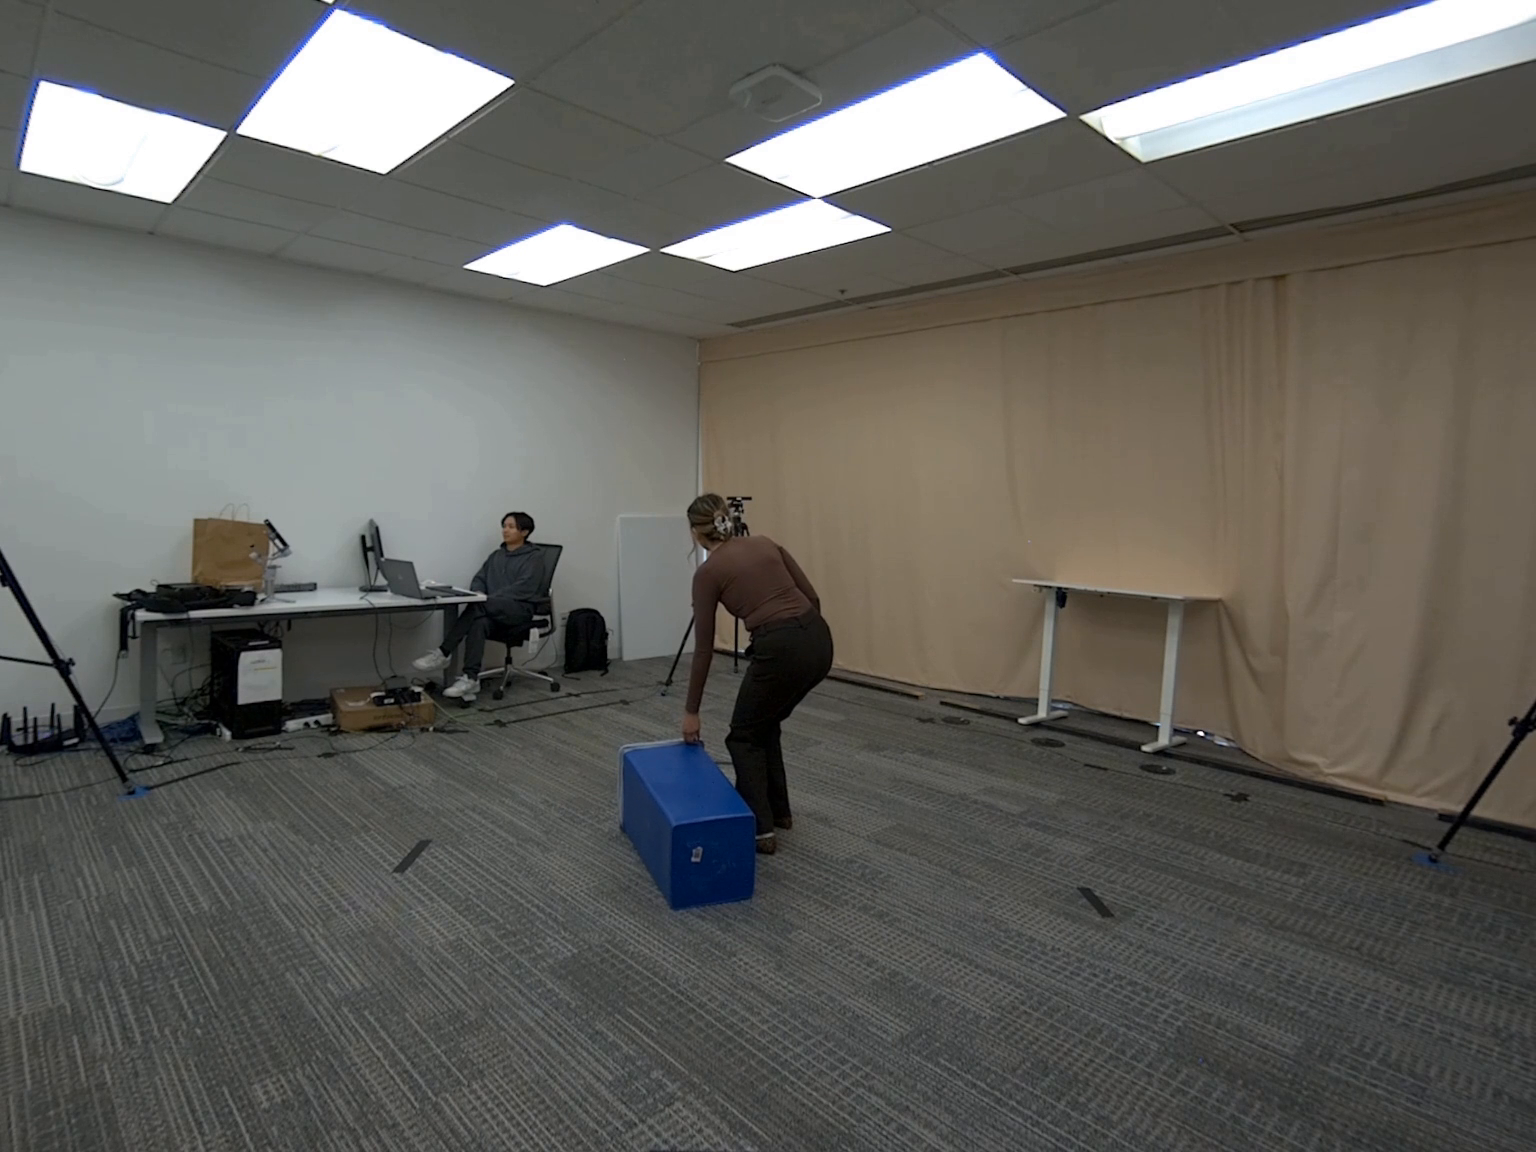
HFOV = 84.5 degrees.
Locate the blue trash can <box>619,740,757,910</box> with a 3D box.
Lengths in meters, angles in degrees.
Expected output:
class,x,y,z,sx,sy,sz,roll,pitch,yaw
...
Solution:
class,x,y,z,sx,sy,sz,roll,pitch,yaw
blue trash can,-0.330,0.921,3.191,0.368,0.376,0.727,0,7,-21
